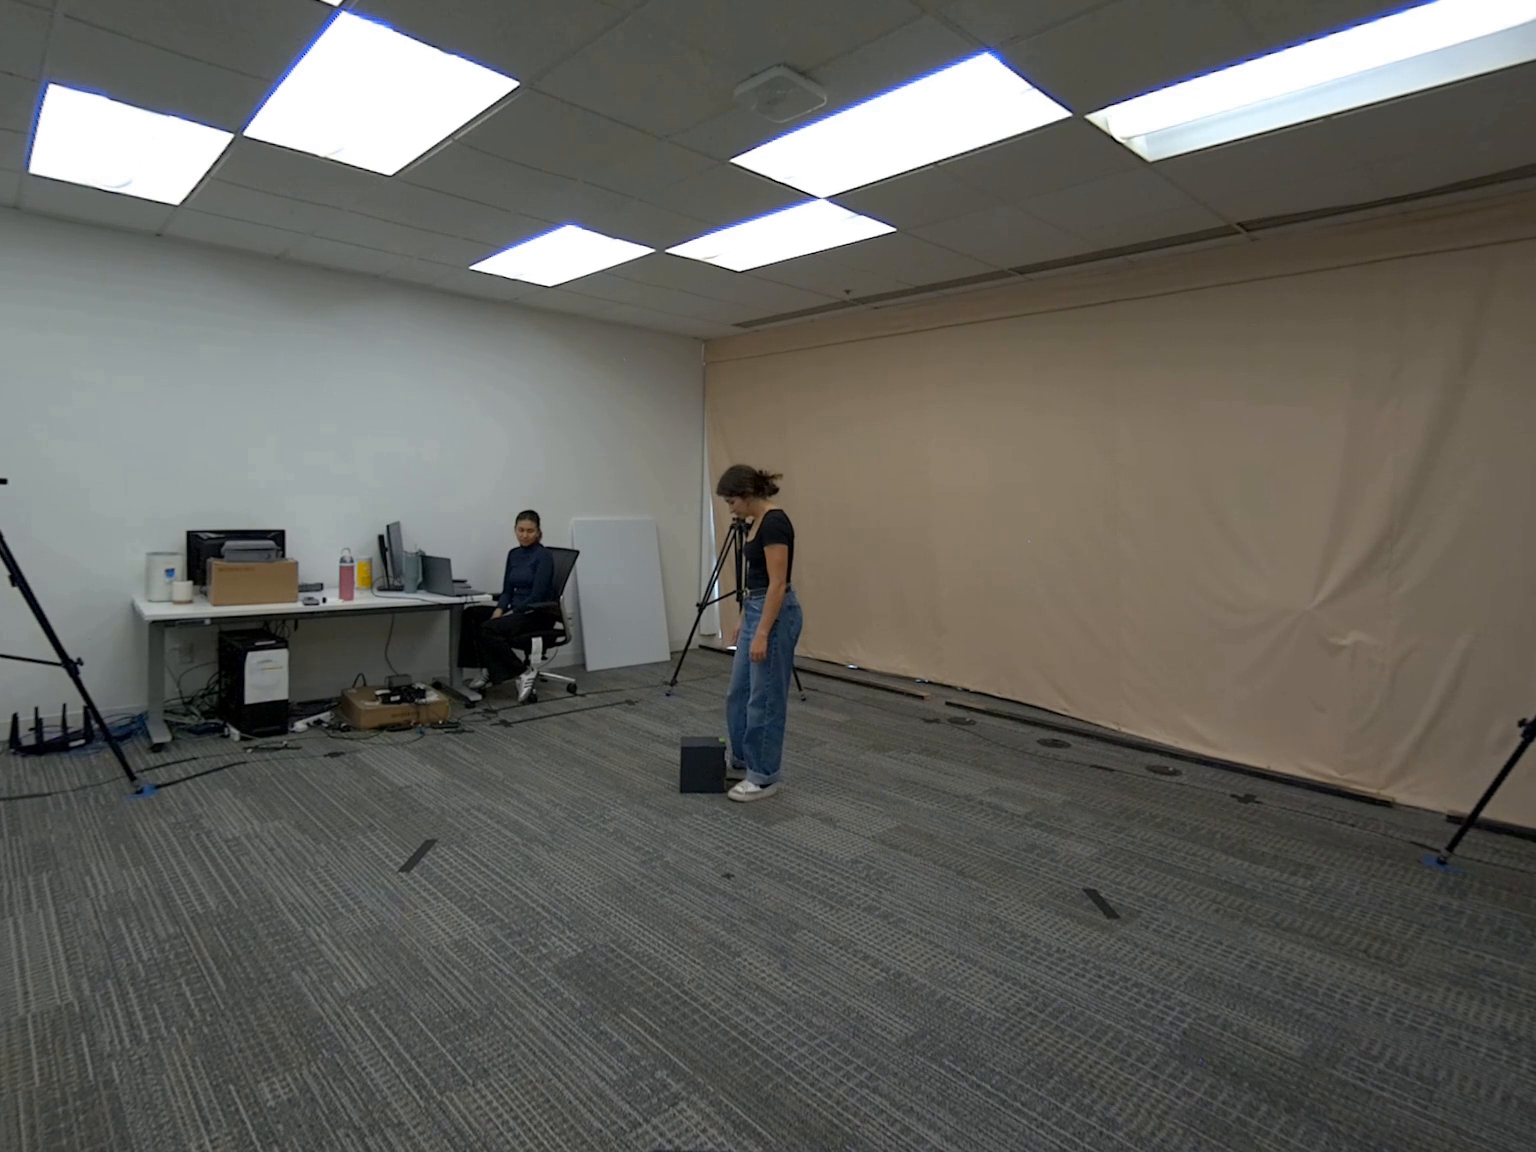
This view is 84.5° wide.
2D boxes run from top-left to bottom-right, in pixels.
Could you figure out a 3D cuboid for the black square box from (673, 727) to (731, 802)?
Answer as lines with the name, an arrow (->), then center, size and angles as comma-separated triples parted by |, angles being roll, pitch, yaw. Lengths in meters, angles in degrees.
black square box -> -0.328, 0.901, 4.048 | 0.216, 0.227, 0.157 | 2, 4, -4
